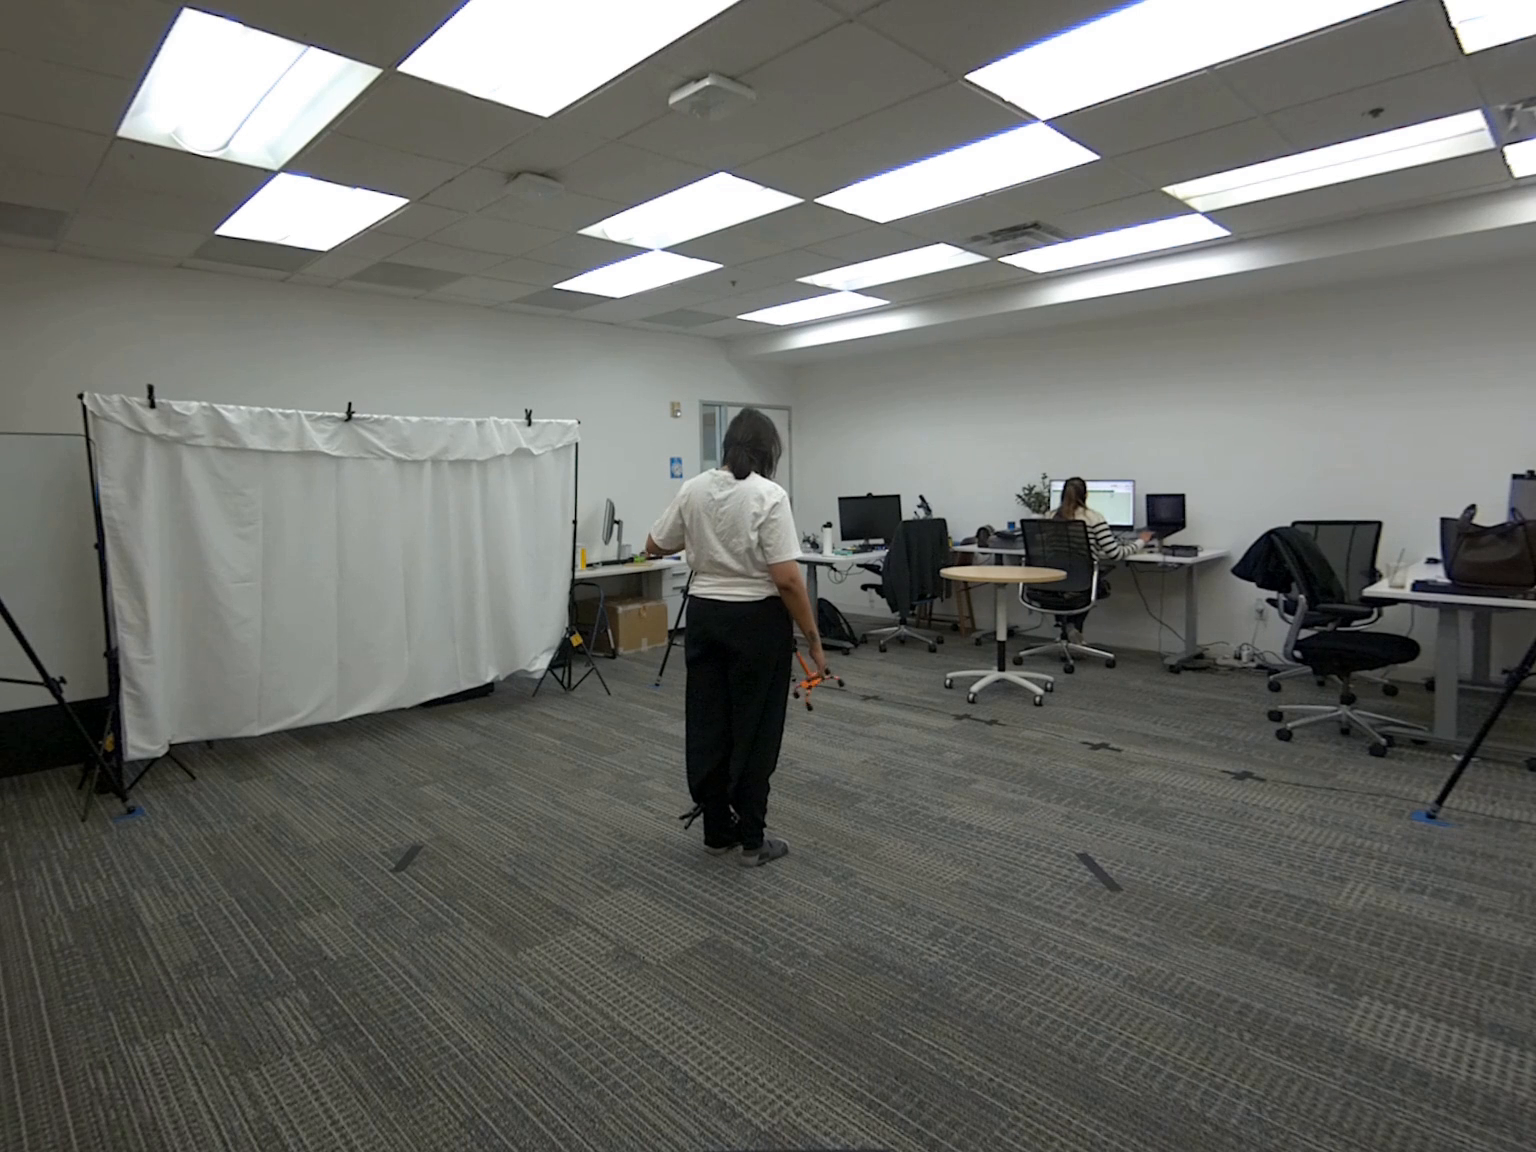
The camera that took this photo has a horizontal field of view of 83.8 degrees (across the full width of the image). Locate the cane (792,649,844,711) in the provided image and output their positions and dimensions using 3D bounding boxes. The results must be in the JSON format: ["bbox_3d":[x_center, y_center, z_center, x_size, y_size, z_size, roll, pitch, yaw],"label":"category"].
[{"bbox_3d":[0.038,0.178,3.589,0.205,0.881,0.157,-32,28,-12],"label":"cane"}]
